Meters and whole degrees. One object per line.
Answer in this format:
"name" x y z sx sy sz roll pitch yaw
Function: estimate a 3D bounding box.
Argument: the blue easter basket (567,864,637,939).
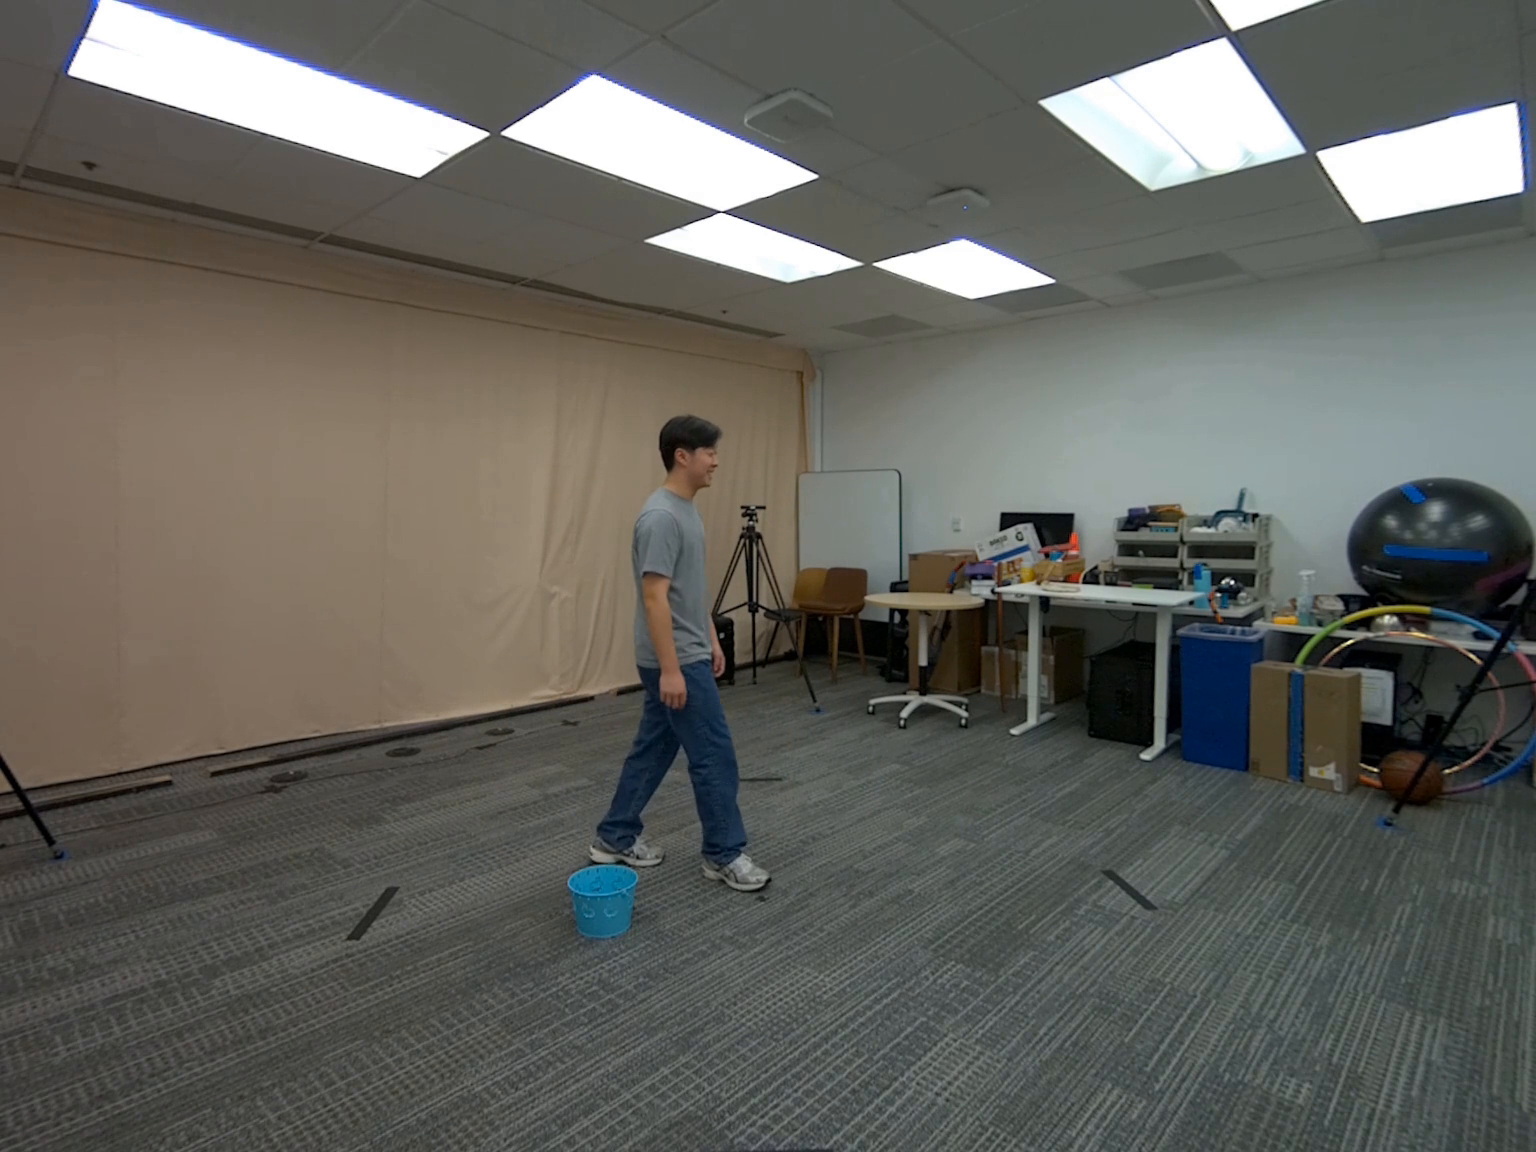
"blue easter basket" -0.540 1.083 2.801 0.243 0.155 0.244 -1 4 -2
